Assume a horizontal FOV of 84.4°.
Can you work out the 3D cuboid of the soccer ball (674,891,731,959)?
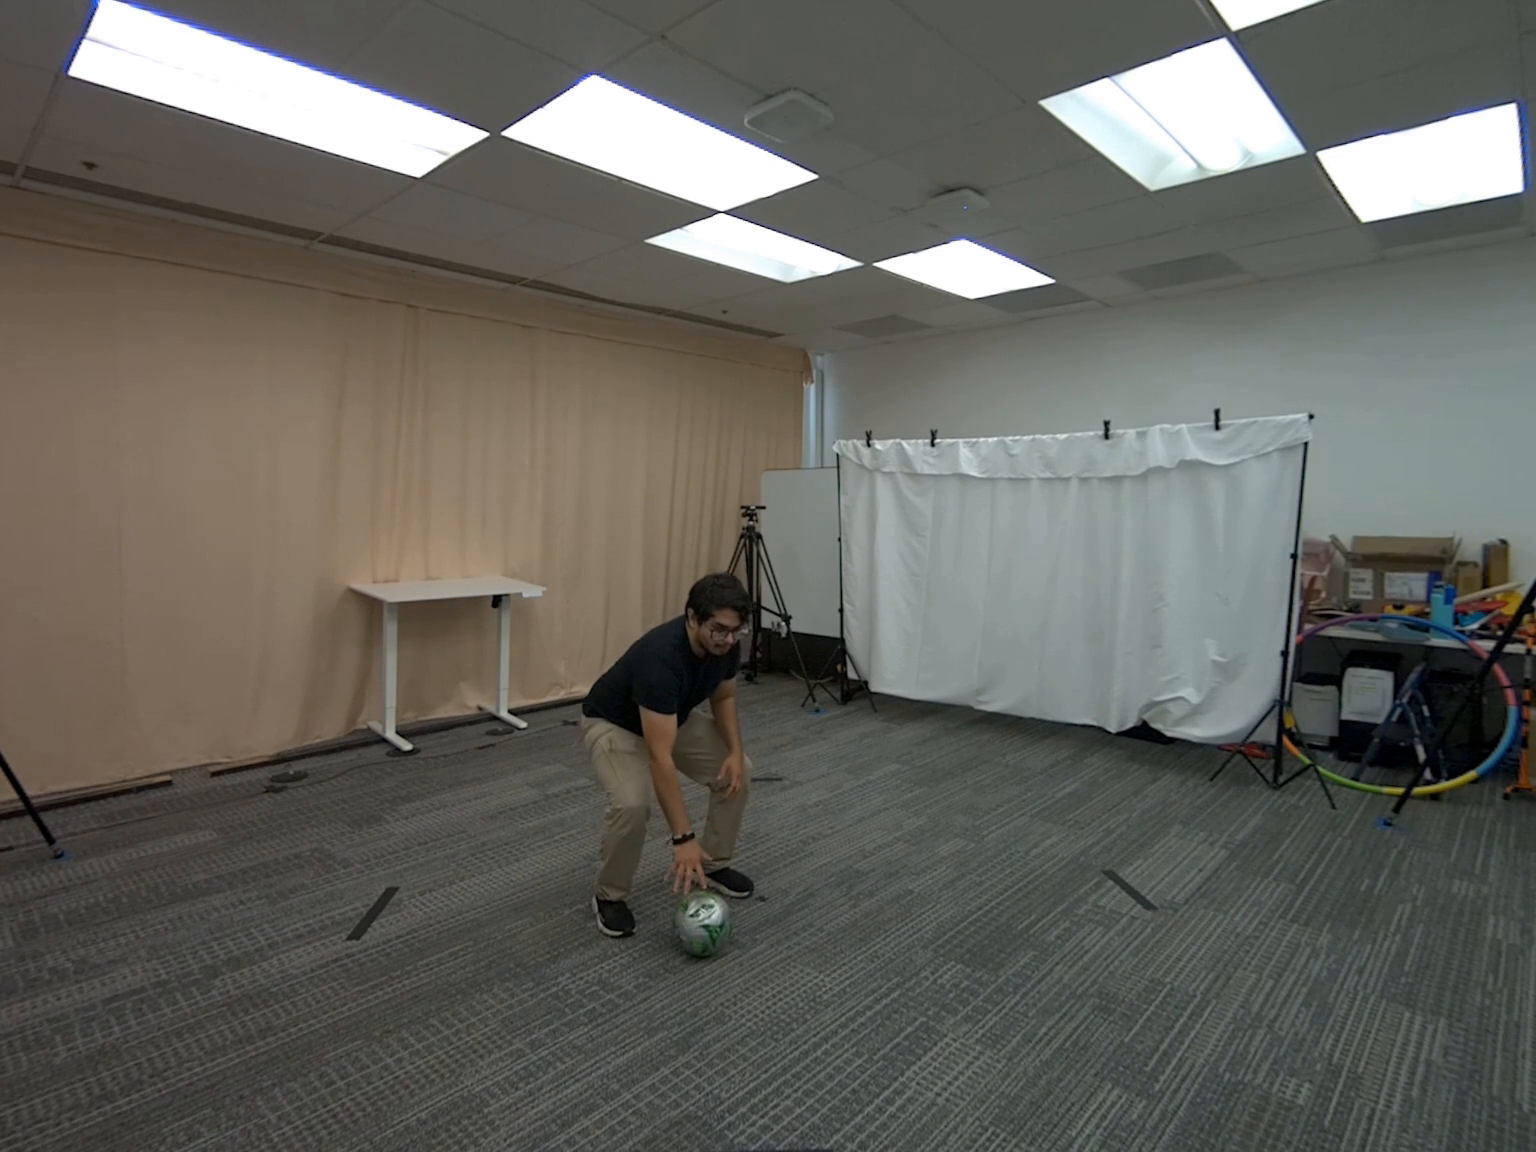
[{"bbox_3d":[-0.202,1.077,2.624,0.187,0.187,0.188,0,4,-2],"label":"soccer ball"}]
